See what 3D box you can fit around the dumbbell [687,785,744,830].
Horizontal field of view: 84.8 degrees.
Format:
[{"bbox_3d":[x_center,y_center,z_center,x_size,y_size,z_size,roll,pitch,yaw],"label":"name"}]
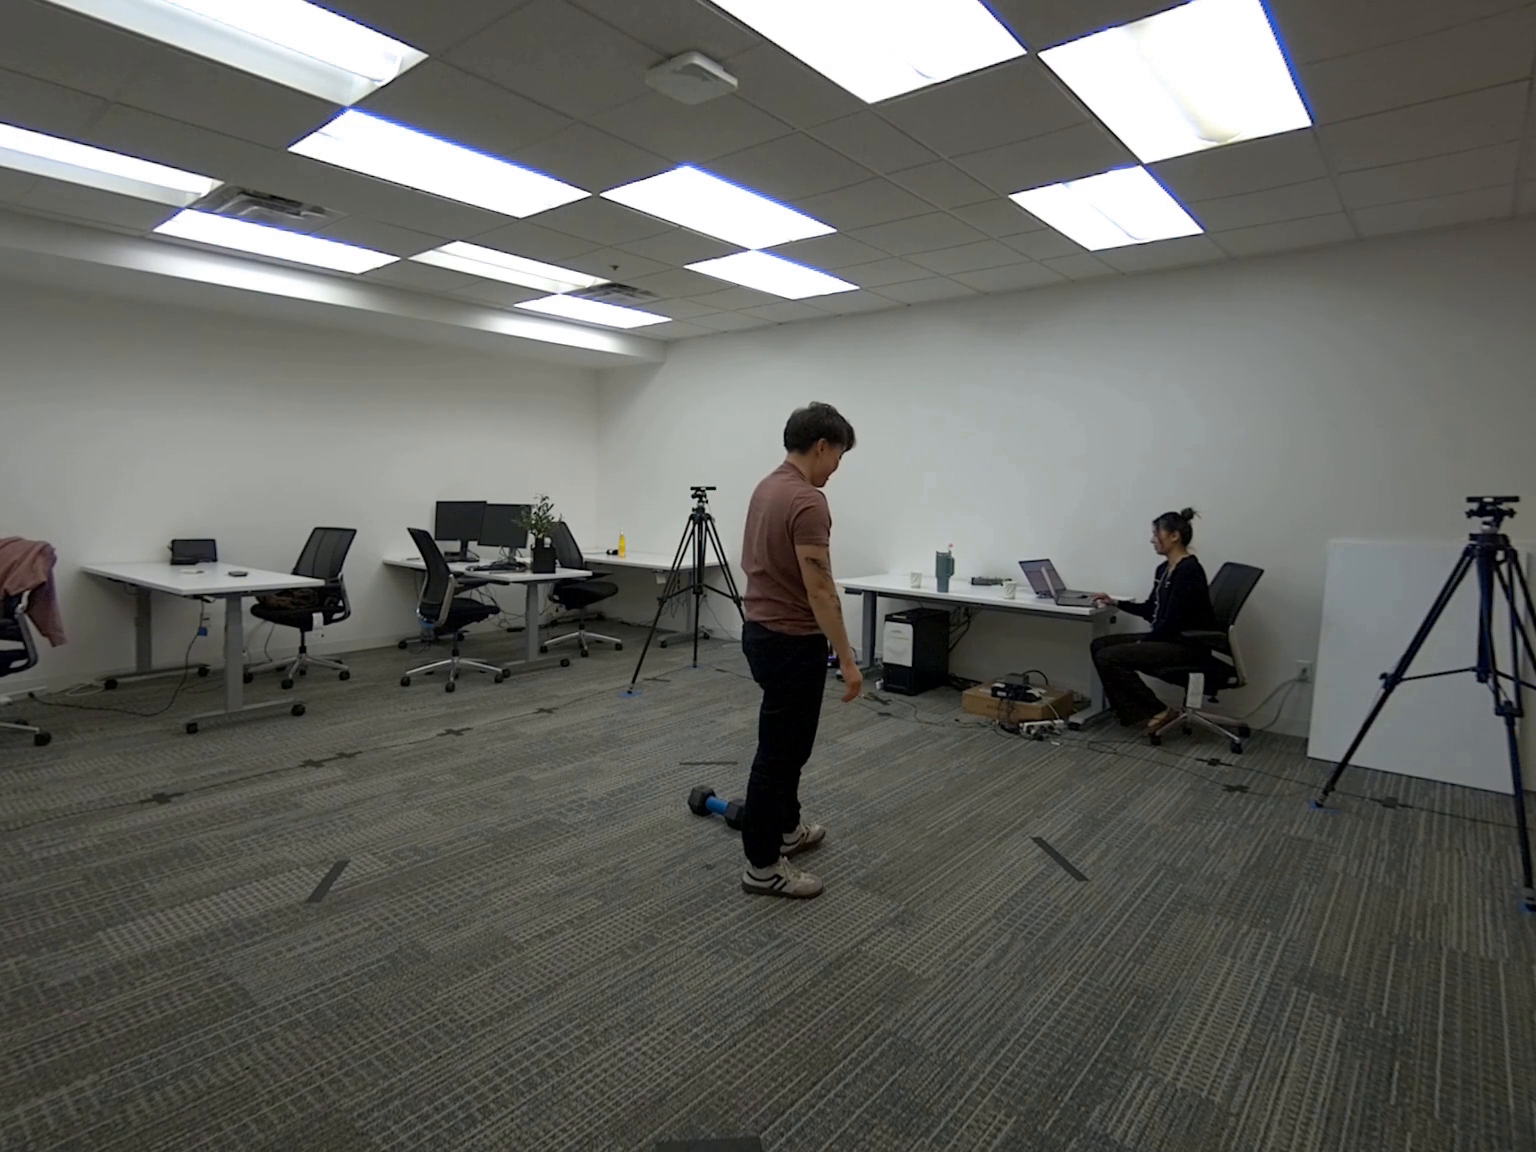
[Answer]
[{"bbox_3d":[-0.211,0.965,3.568,0.303,0.124,0.104,5,-25,41],"label":"dumbbell"}]
